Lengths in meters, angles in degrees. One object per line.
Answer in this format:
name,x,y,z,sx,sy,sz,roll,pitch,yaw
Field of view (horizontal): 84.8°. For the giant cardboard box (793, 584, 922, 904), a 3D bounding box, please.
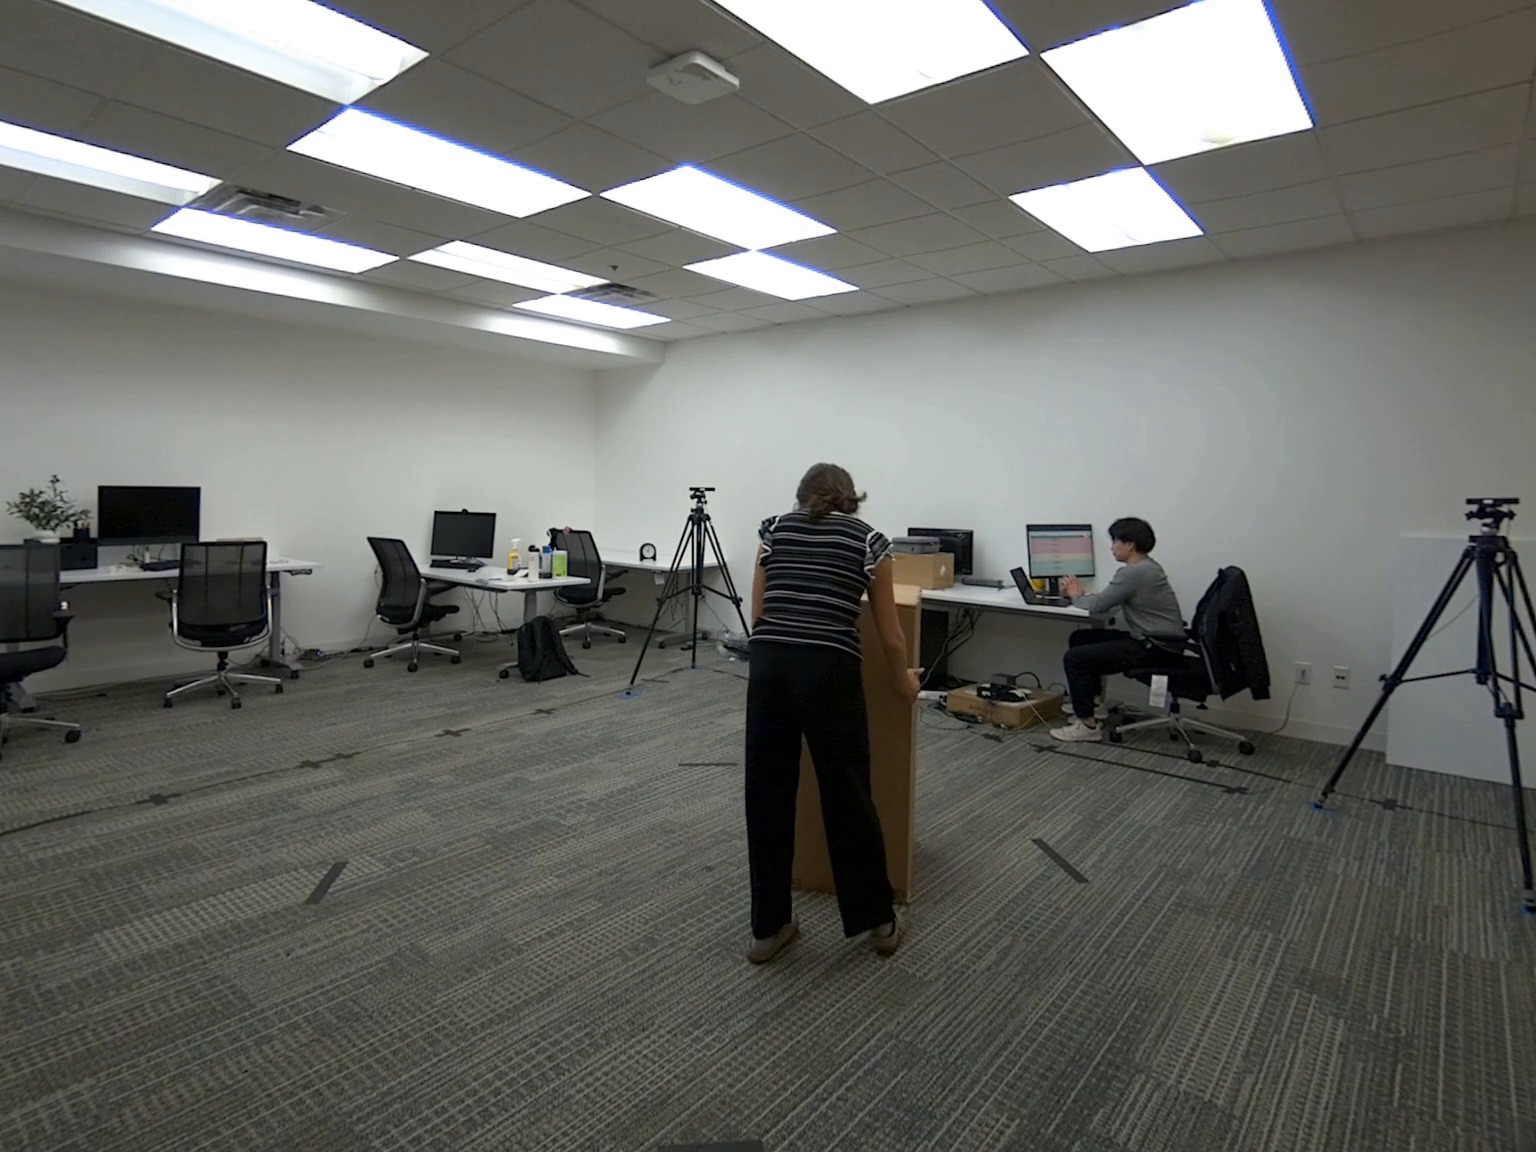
giant cardboard box,0.324,0.562,3.161,0.433,1.022,0.571,2,4,13
